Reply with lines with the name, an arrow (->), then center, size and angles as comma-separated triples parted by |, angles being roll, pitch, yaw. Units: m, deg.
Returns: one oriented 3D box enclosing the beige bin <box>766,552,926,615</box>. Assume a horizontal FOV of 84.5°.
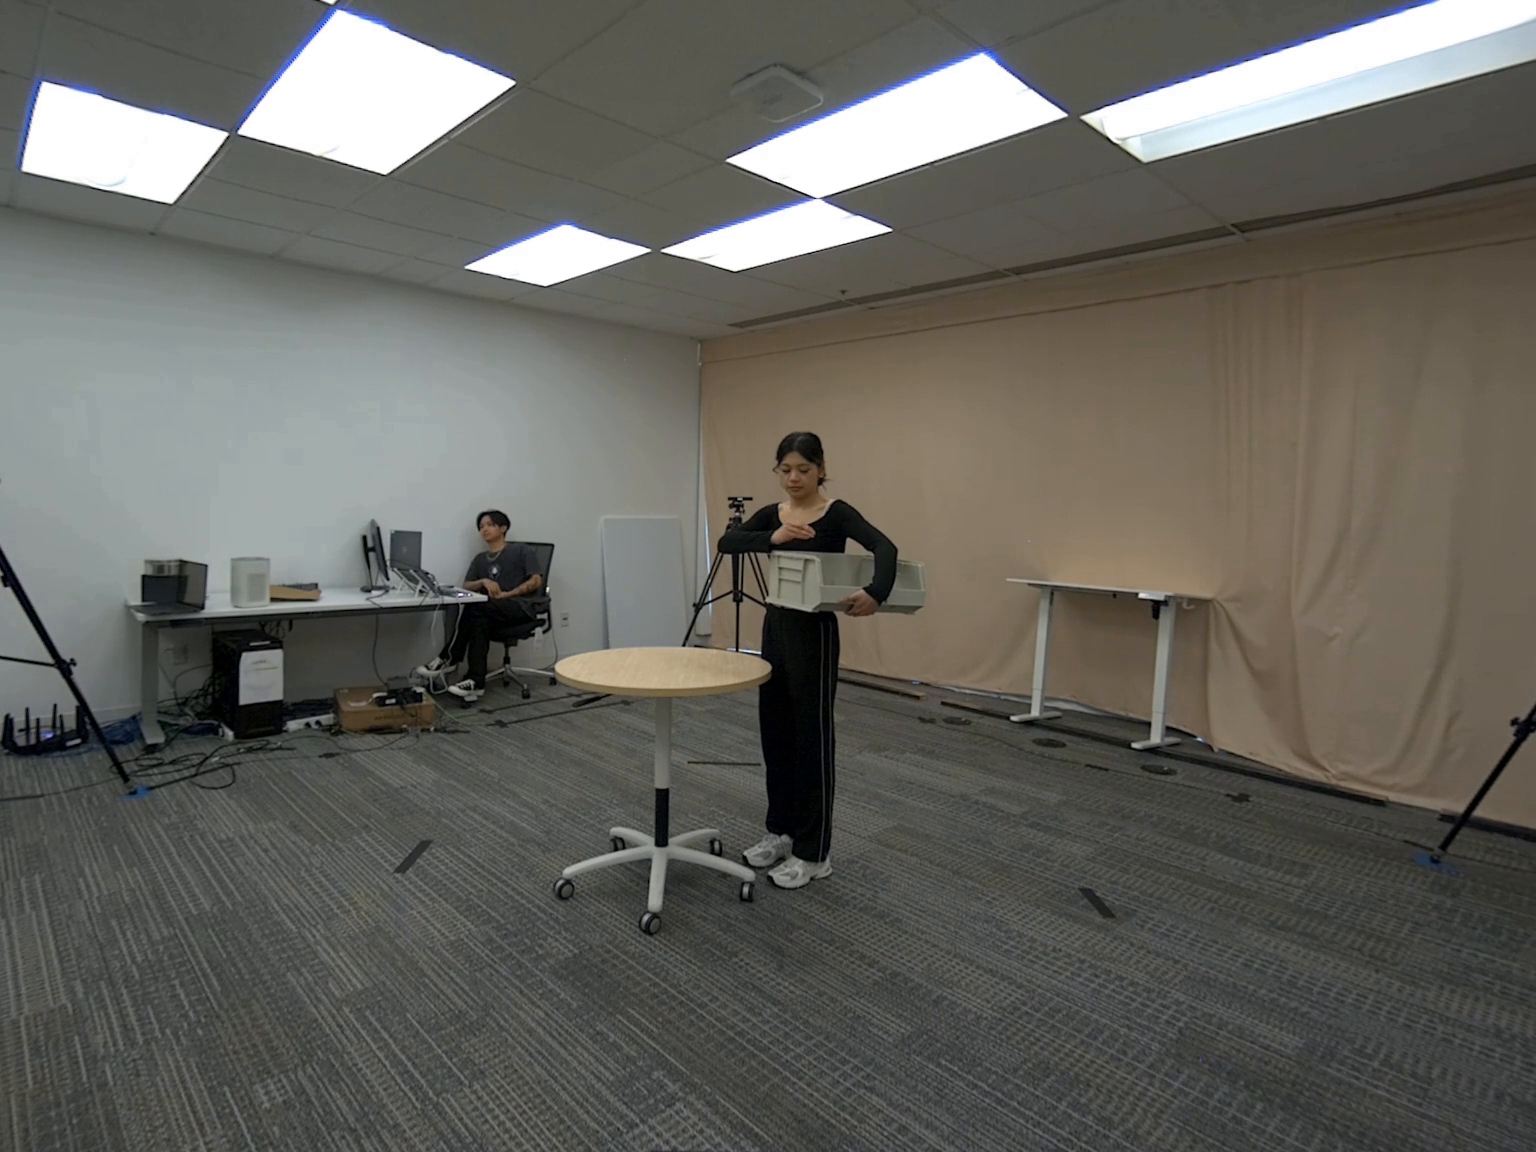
beige bin -> 0.255, 0.025, 2.868 | 0.414, 0.188, 0.385 | 2, 4, -26
